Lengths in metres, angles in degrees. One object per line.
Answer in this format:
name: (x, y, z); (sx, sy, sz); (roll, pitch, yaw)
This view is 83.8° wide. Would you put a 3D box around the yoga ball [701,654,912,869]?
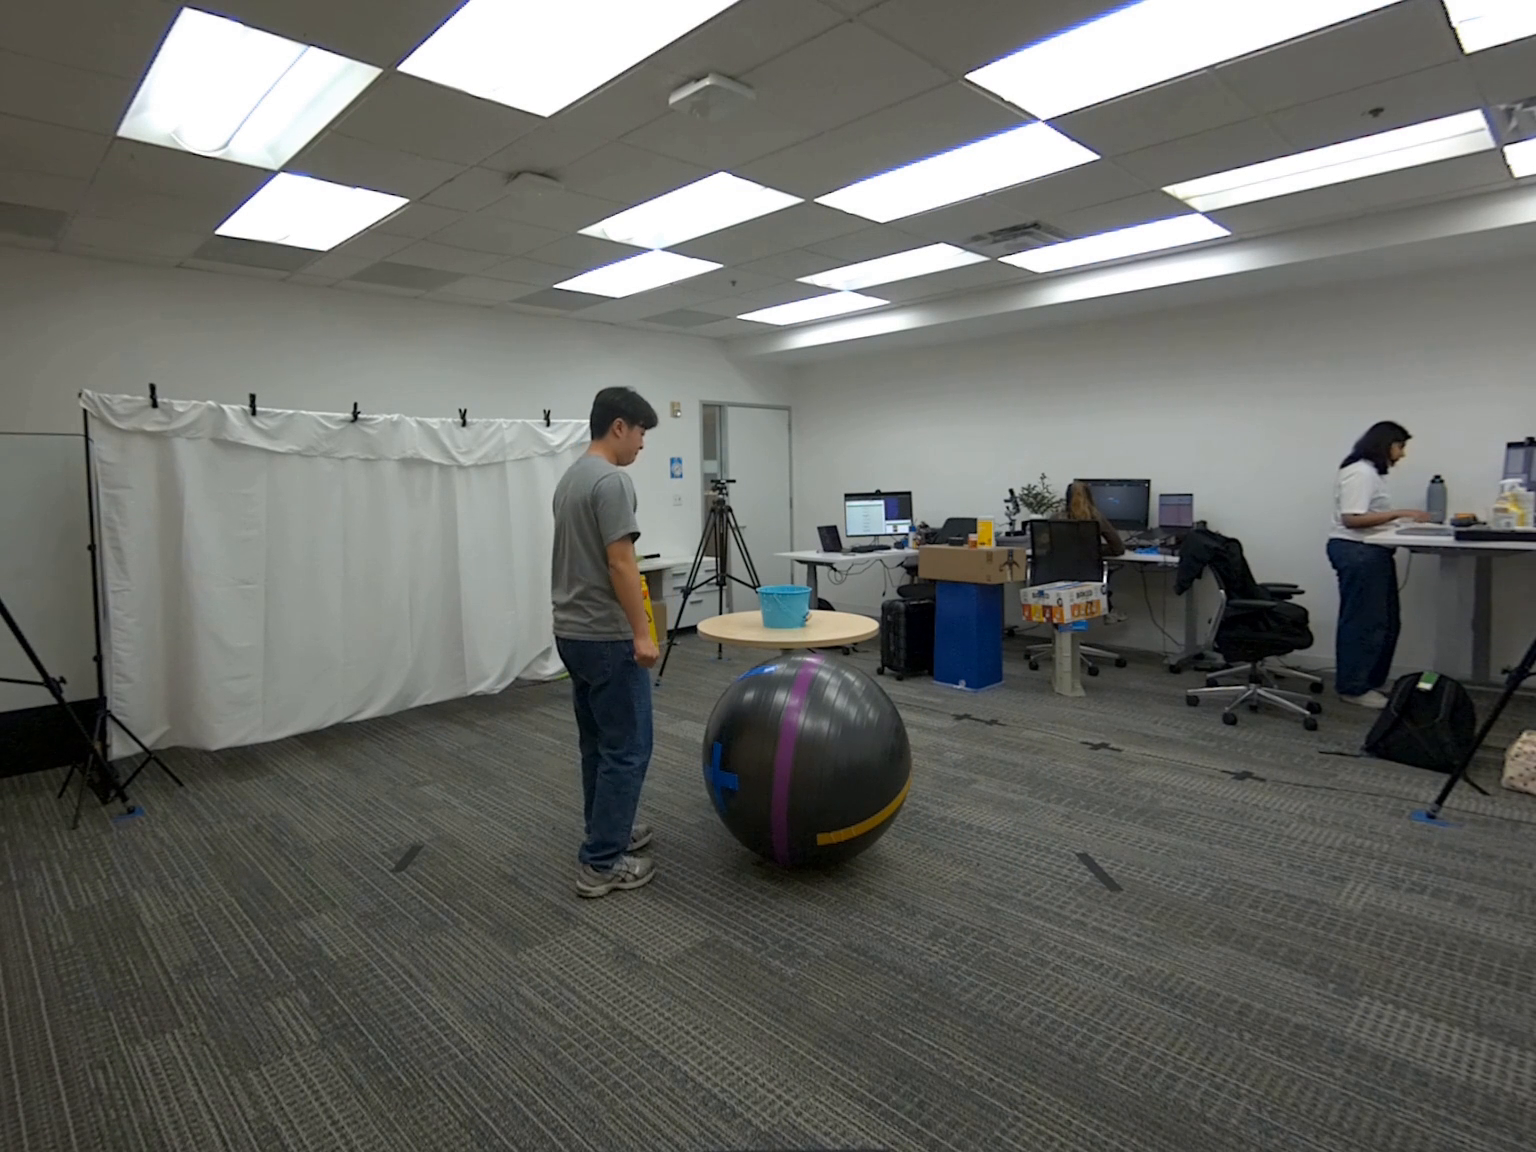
yoga ball: (0.143, 0.666, 3.135); (0.757, 0.755, 0.762); (-1, 5, -2)
